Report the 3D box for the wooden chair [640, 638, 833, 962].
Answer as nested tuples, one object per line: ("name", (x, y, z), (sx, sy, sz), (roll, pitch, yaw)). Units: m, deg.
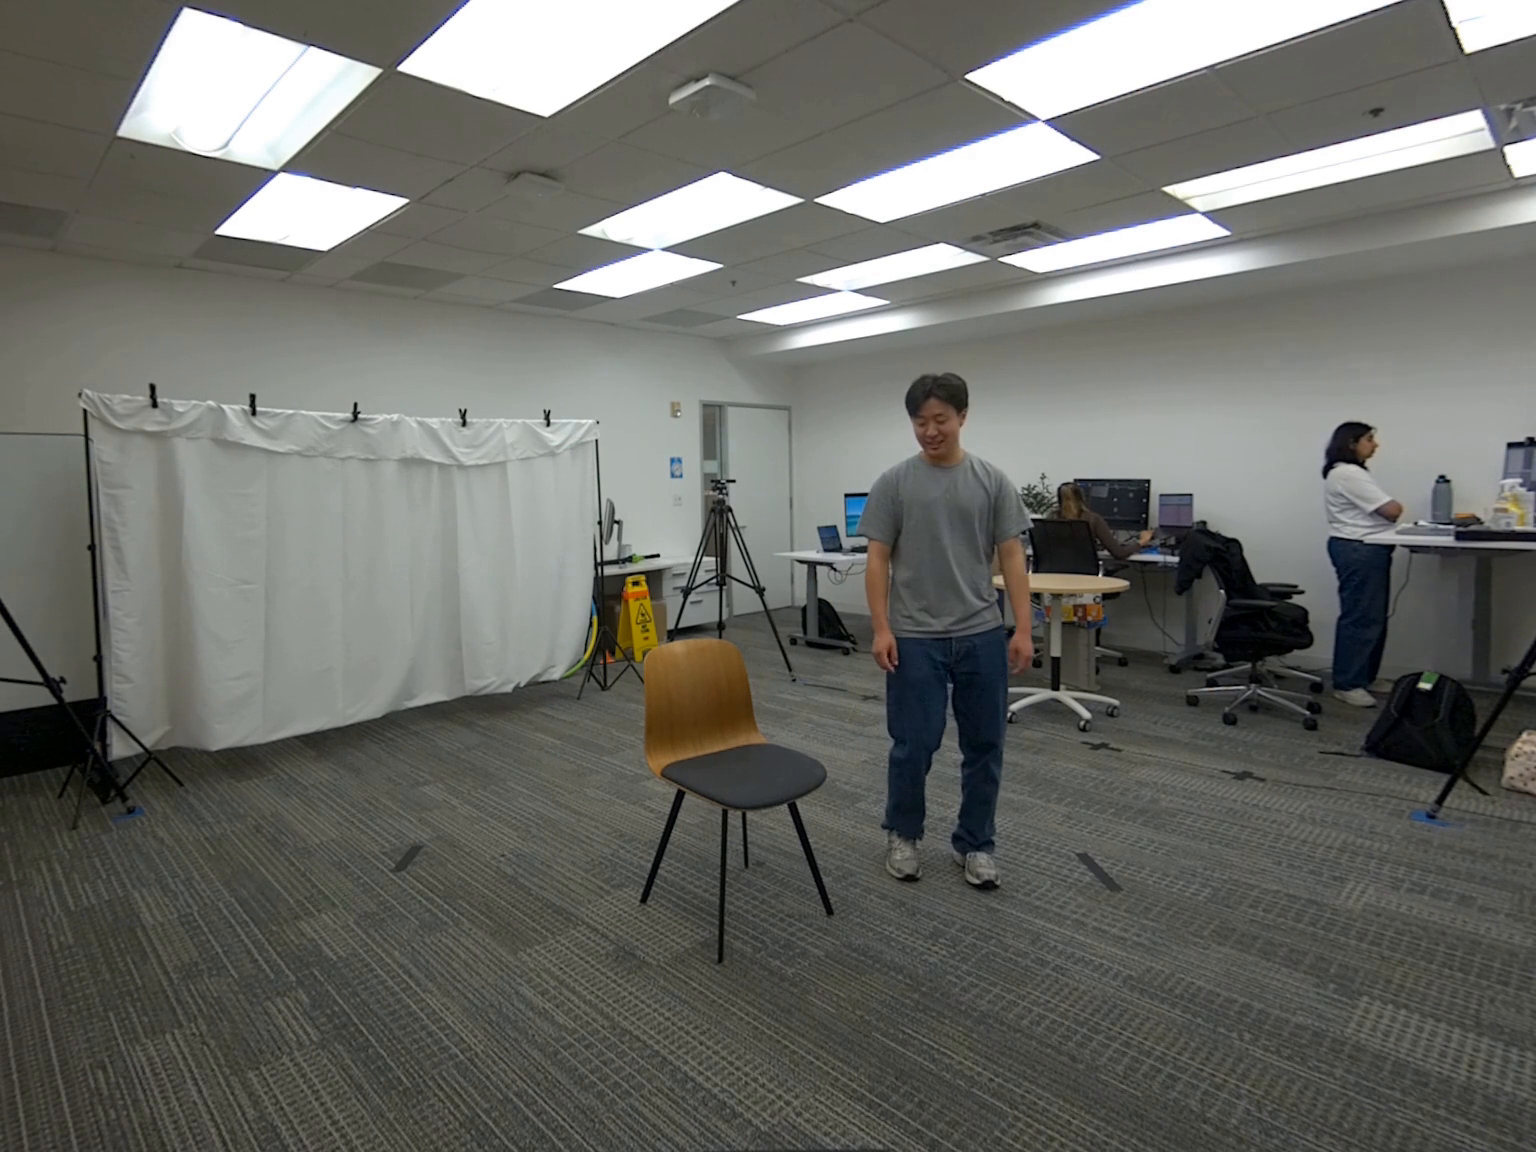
("wooden chair", (-0.105, 0.662, 2.738), (0.466, 0.877, 0.537), (-4, 1, -37))
